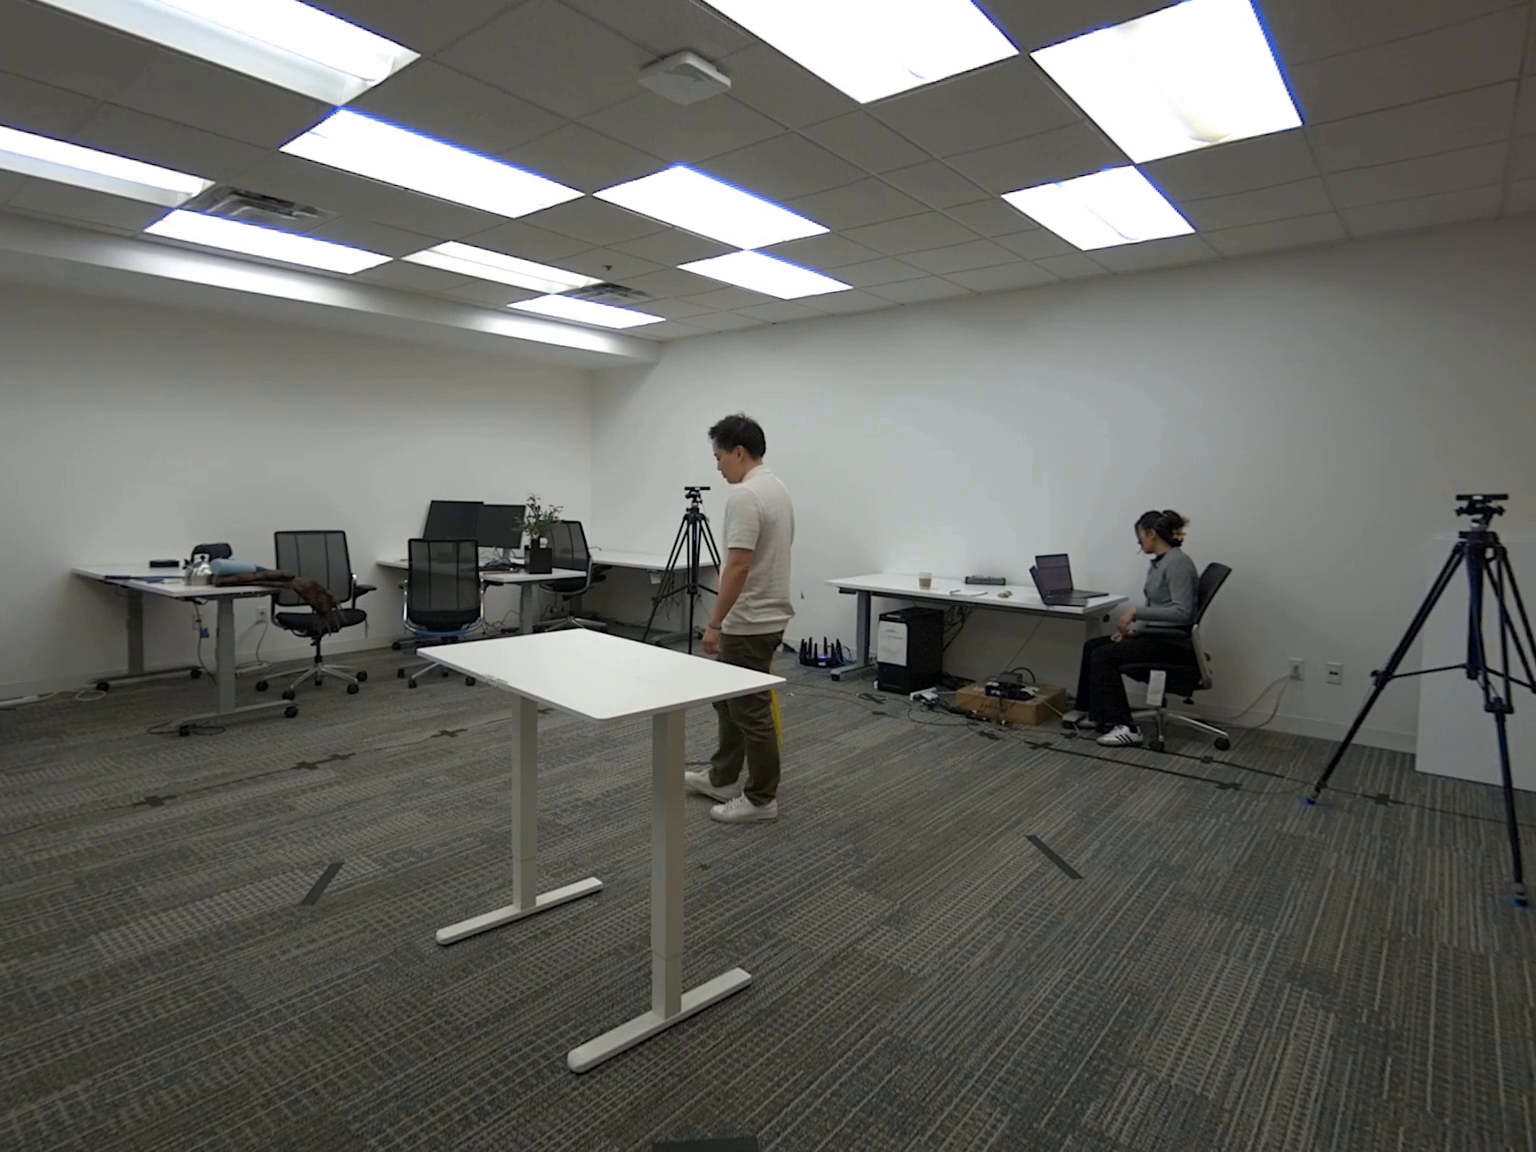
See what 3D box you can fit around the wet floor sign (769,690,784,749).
[{"bbox_3d":[-0.065,0.446,3.983,0.290,0.640,0.285,3,10,0],"label":"wet floor sign"}]
